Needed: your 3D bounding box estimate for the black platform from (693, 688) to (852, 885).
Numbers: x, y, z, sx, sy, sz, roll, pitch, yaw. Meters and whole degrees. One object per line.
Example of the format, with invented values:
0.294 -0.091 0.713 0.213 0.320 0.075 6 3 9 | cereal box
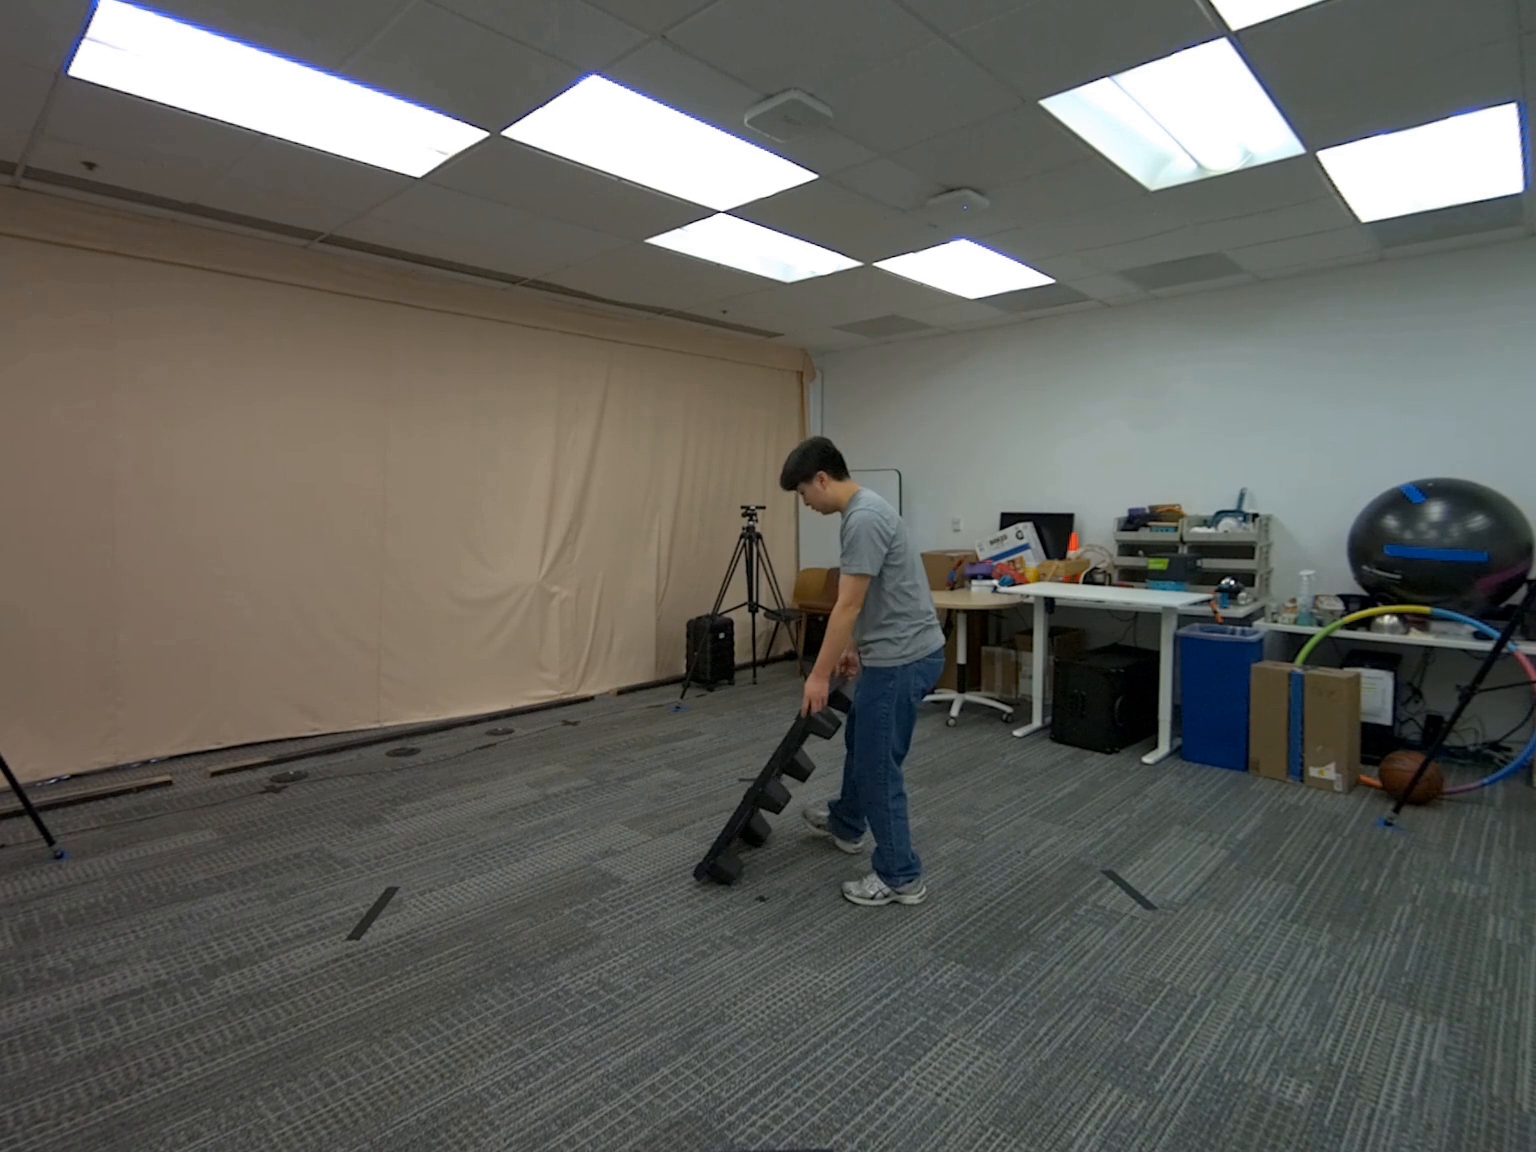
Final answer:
0.064 0.778 3.240 0.146 0.805 0.594 34 13 12 | black platform
